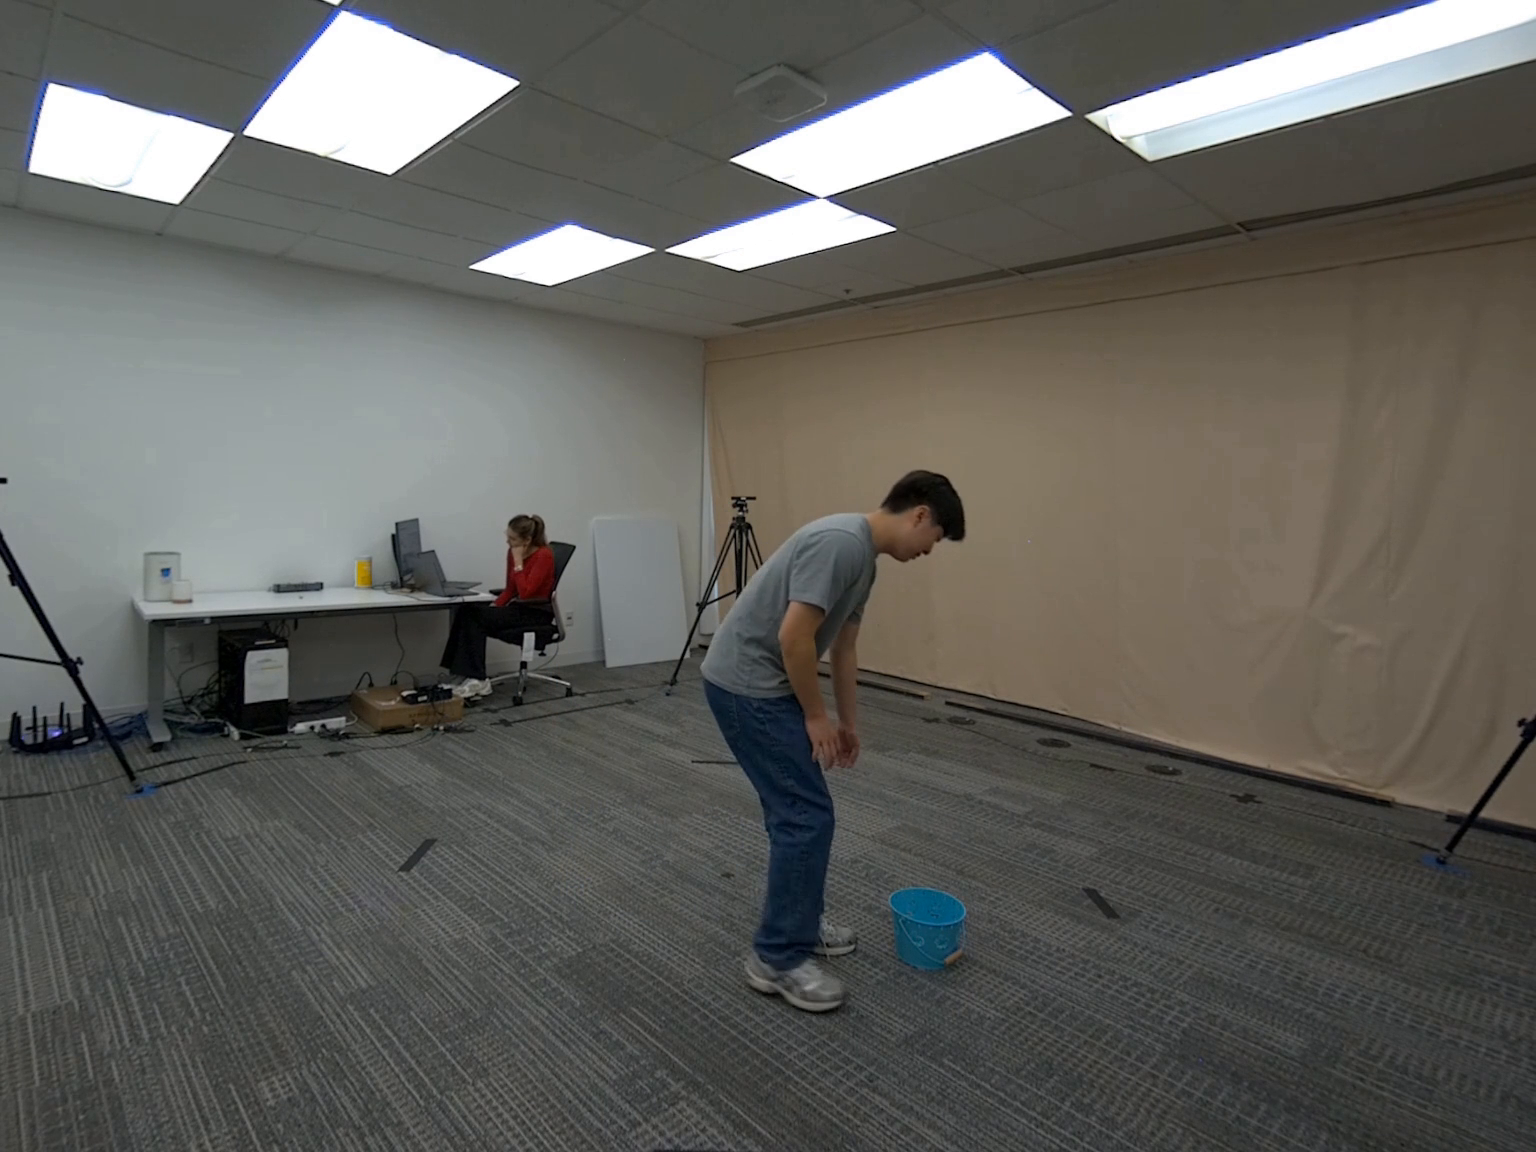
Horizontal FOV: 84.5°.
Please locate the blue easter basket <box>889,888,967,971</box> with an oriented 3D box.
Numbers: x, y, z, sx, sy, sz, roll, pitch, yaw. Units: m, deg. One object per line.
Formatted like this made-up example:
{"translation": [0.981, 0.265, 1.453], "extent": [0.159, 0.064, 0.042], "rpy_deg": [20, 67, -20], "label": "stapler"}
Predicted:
{"translation": [0.479, 1.089, 2.593], "extent": [0.243, 0.155, 0.244], "rpy_deg": [1, 5, -1], "label": "blue easter basket"}
